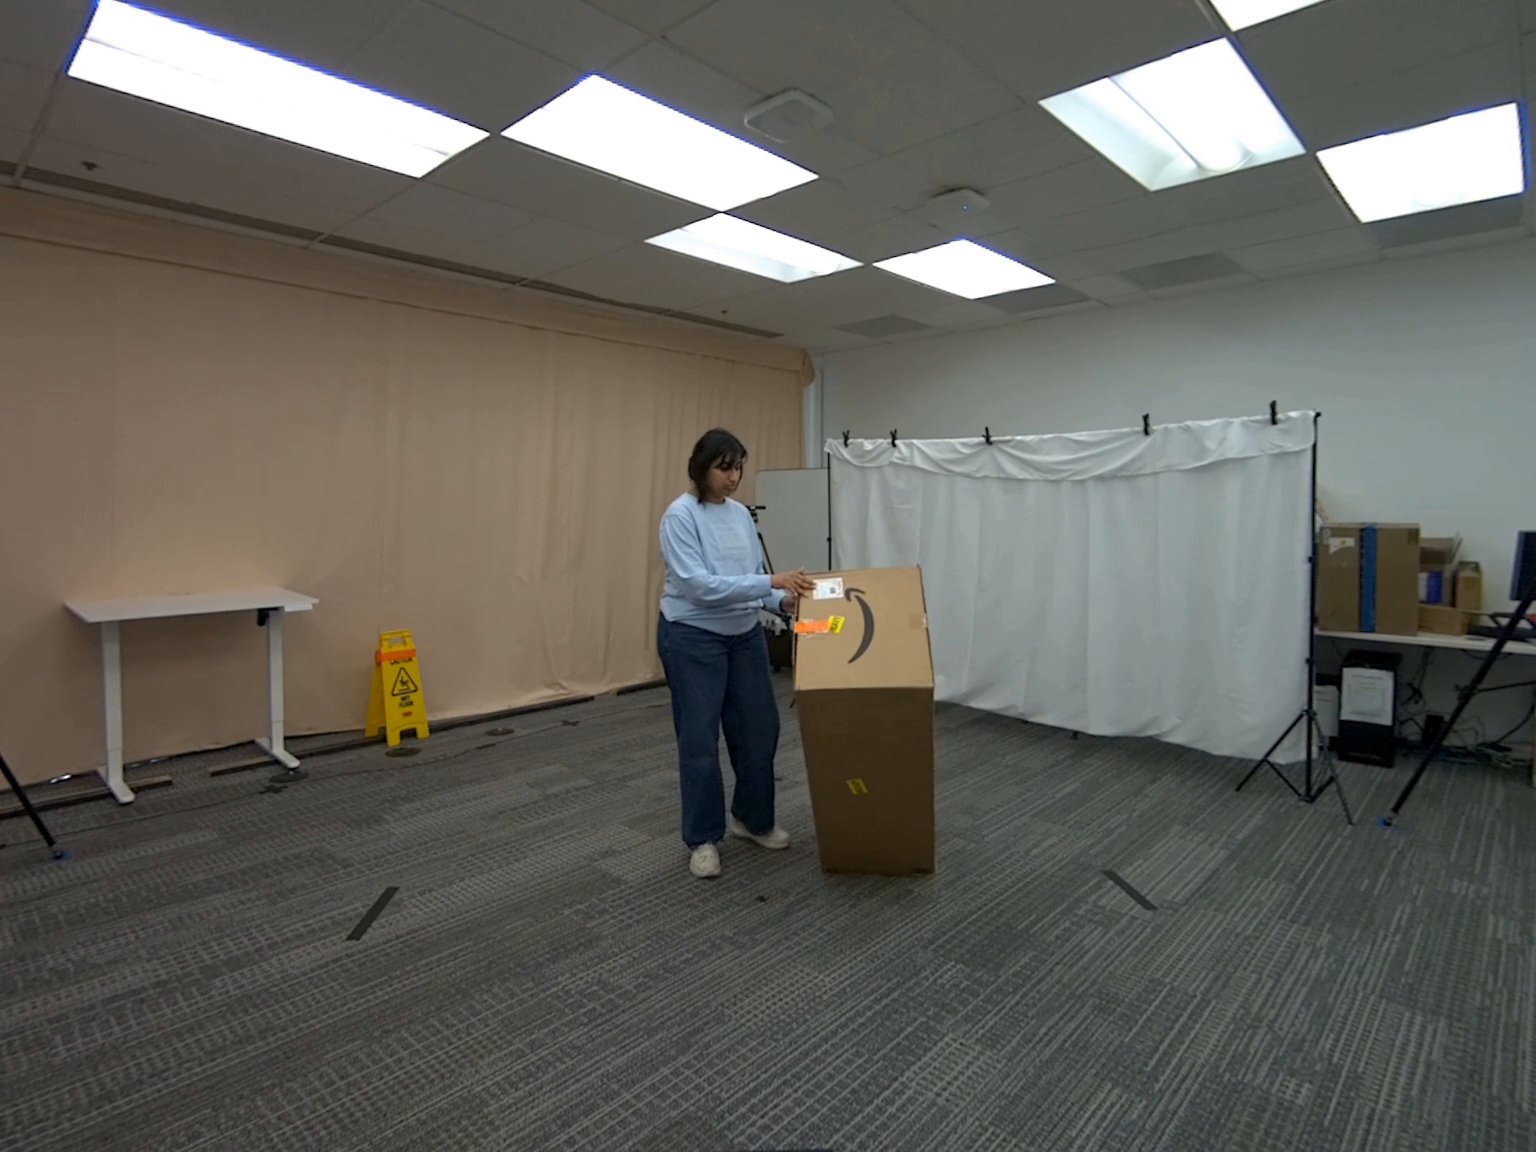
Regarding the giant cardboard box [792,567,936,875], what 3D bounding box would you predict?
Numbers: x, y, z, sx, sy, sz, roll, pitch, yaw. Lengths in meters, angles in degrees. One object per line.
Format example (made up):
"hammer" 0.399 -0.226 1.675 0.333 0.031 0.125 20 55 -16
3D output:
"giant cardboard box" 0.372 0.548 3.075 0.452 1.003 0.591 -3 38 10
